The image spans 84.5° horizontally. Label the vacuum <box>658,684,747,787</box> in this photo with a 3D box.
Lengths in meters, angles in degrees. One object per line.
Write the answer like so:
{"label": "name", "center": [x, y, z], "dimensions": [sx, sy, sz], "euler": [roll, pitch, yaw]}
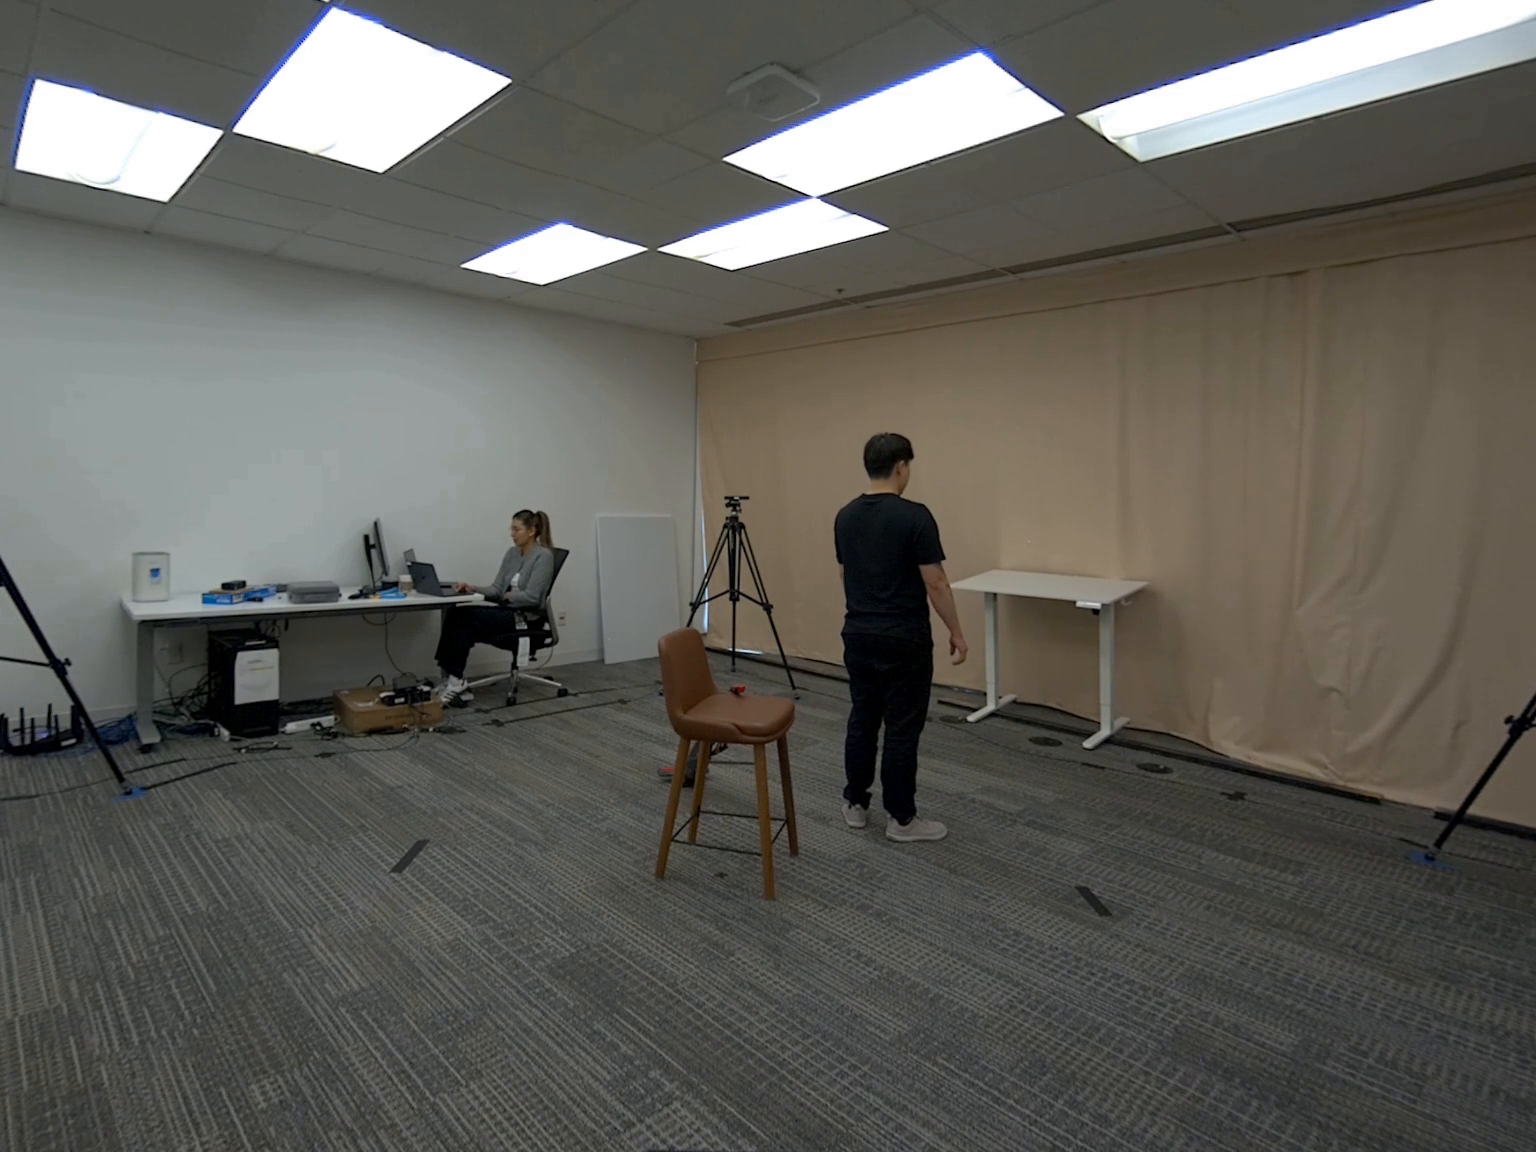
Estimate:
{"label": "vacuum", "center": [-0.262, 0.715, 3.705], "dimensions": [0.249, 0.147, 1.040], "euler": [0, -31, -20]}
